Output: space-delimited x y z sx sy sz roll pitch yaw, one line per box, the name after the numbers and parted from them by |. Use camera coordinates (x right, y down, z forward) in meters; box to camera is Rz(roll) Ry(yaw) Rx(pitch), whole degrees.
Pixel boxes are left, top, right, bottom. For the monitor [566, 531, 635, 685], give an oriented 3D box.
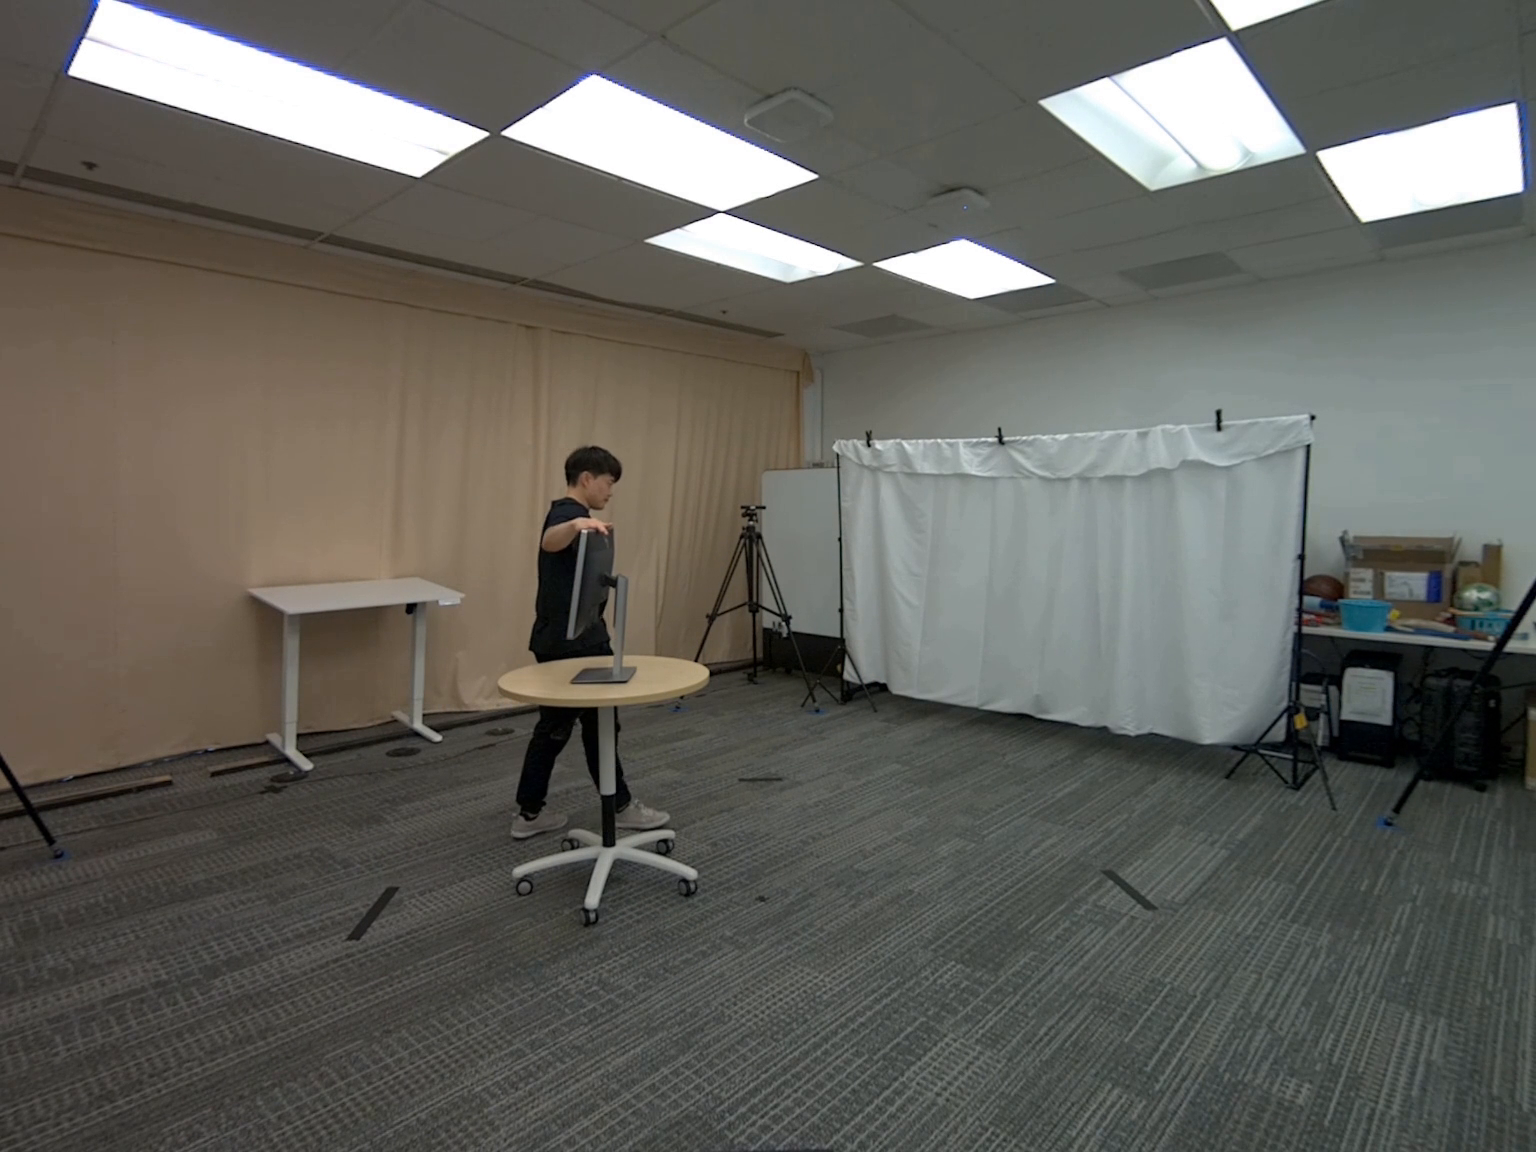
-0.593 0.101 3.034 0.187 0.521 0.541 -3 3 -3 | monitor
